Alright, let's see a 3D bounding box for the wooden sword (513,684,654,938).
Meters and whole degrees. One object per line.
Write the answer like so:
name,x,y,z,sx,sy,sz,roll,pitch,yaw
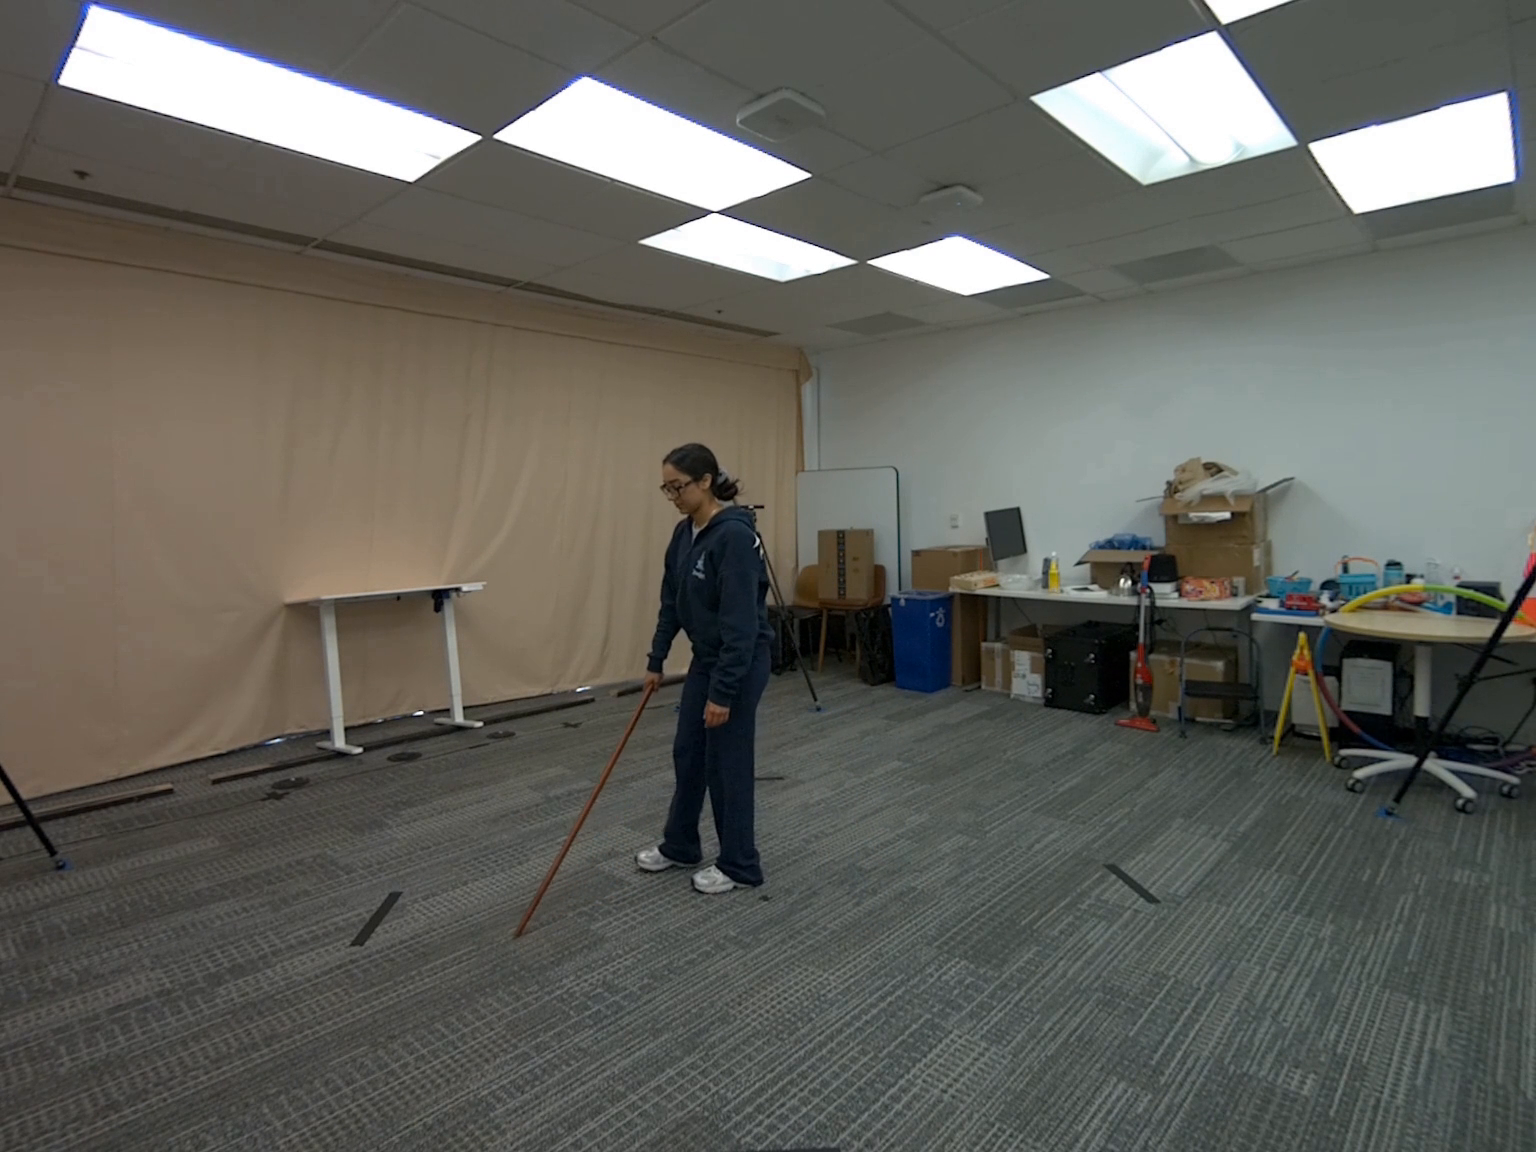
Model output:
wooden sword,-0.610,0.779,2.997,0.024,1.025,0.051,29,-29,-4
